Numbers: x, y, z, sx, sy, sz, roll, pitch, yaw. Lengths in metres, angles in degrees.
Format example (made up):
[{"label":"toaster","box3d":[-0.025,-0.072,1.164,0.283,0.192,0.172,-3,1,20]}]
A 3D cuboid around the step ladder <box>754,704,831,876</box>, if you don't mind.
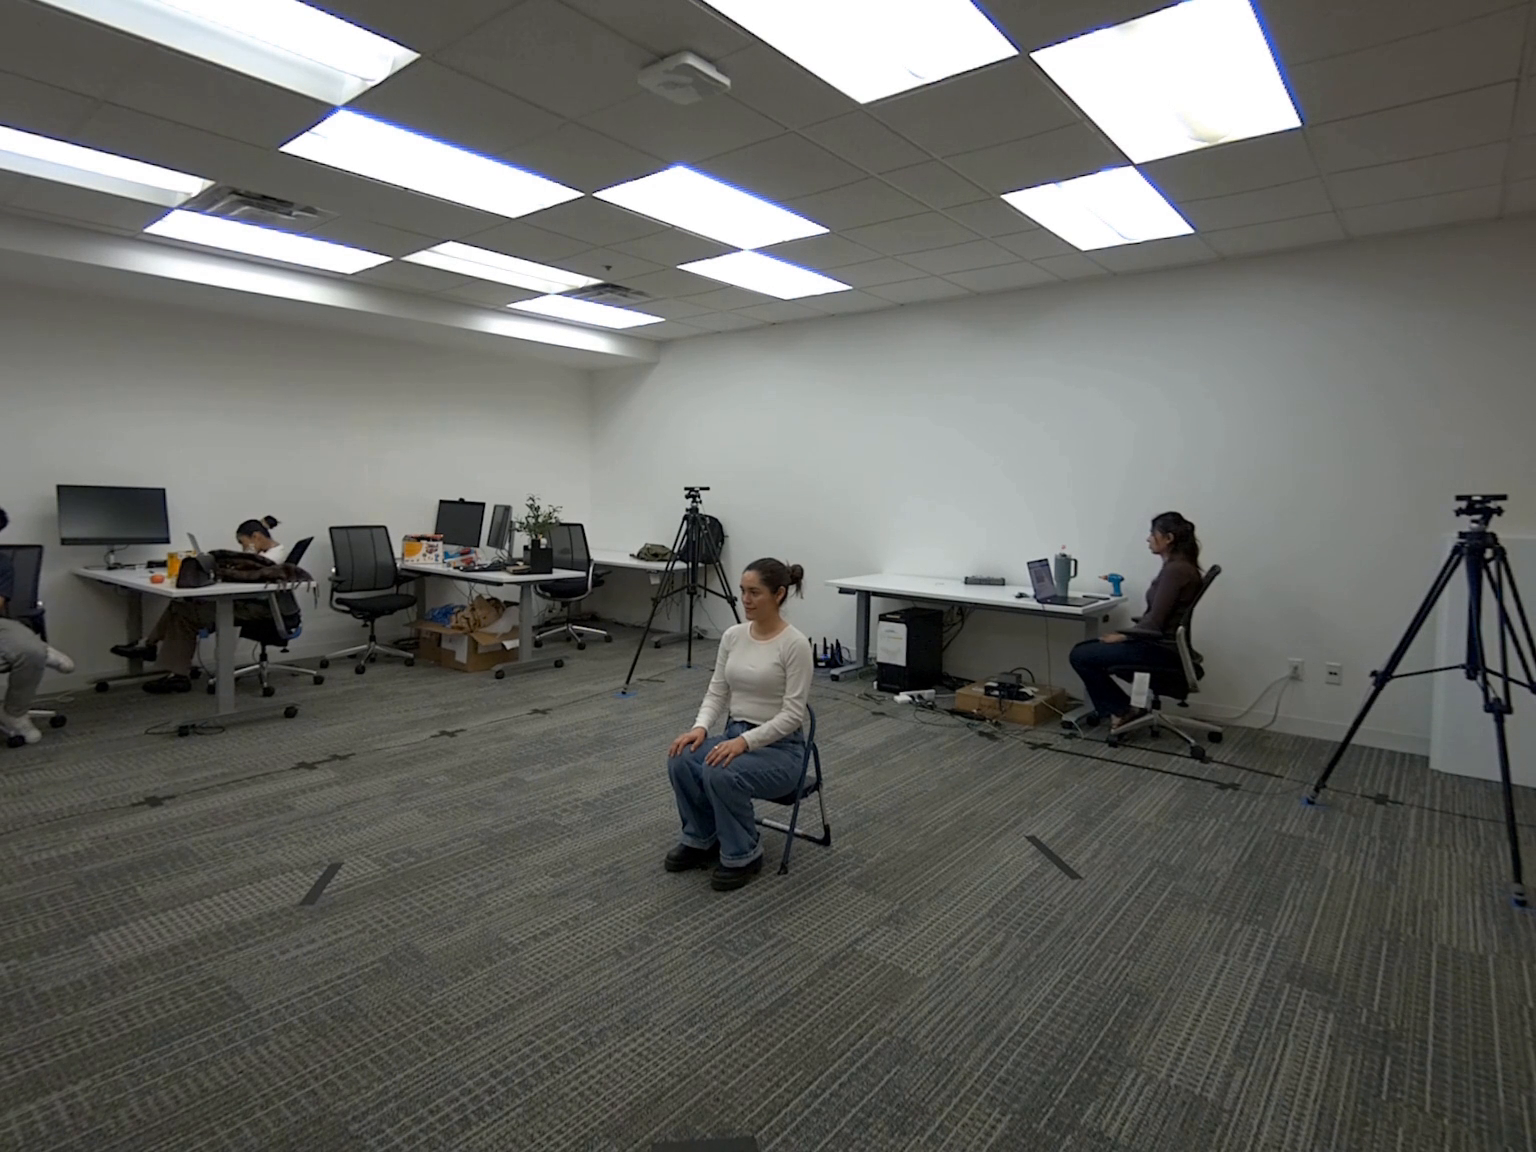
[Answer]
[{"label":"step ladder","box3d":[-0.013,0.742,3.317,0.445,0.604,0.339,4,4,36]}]
